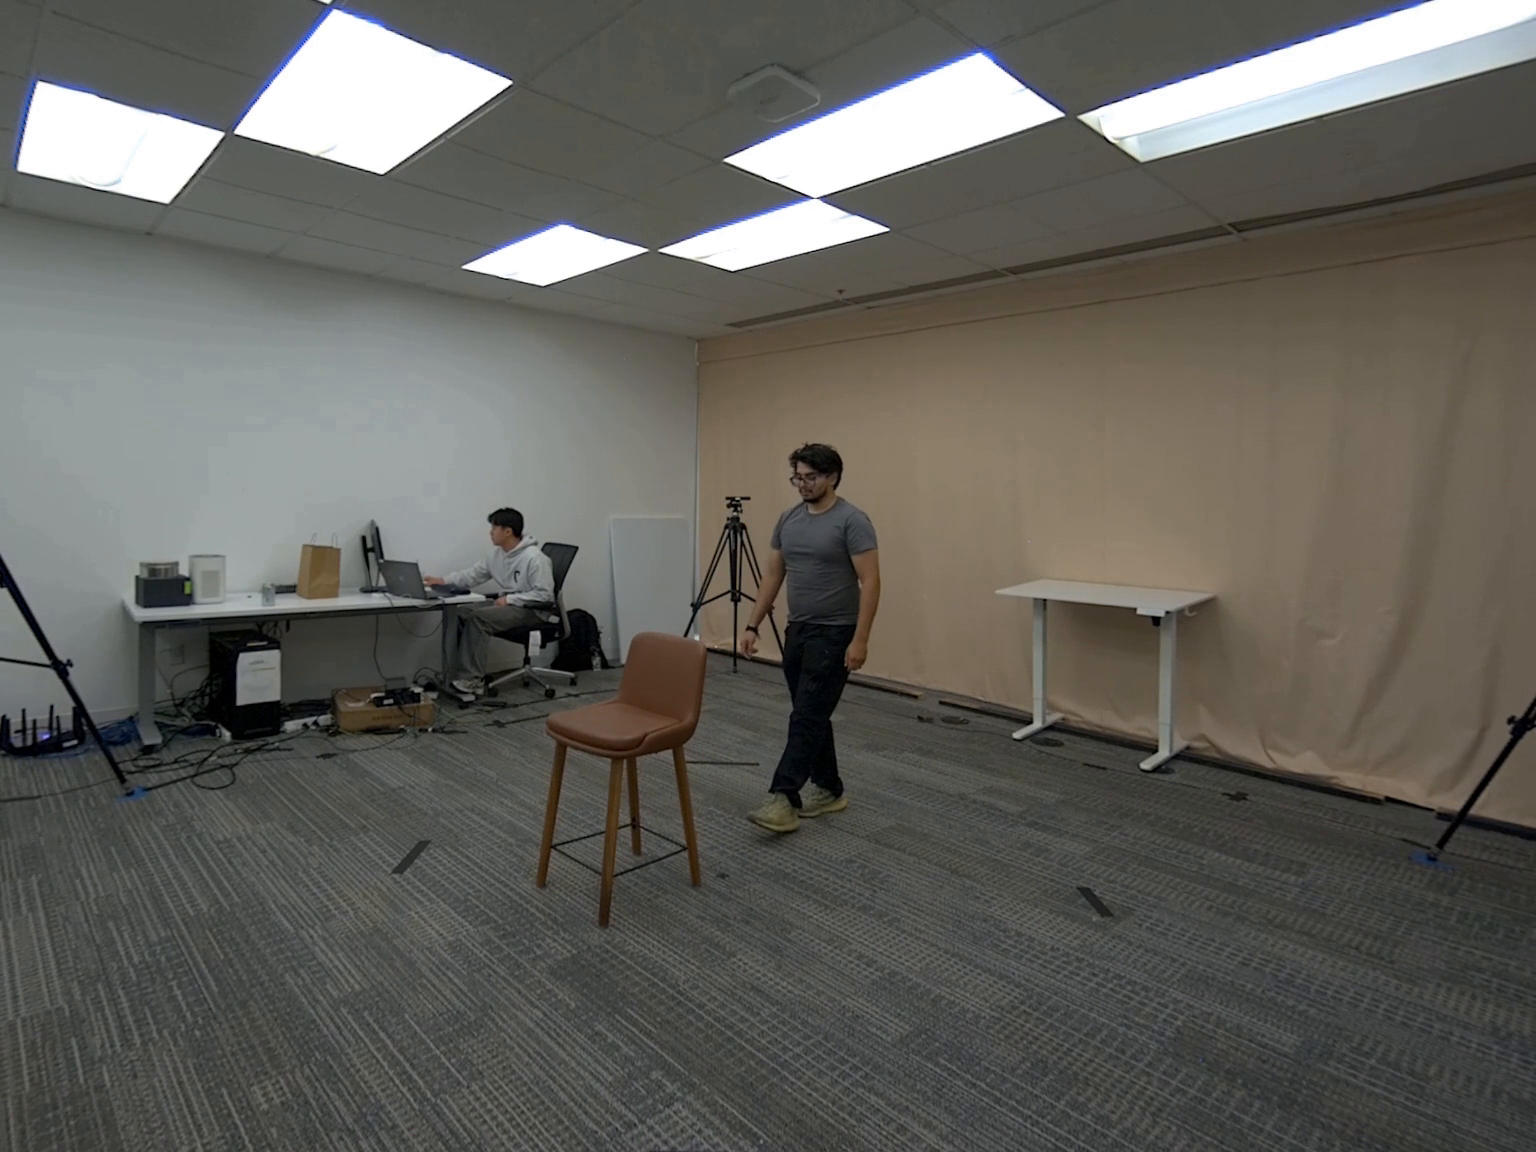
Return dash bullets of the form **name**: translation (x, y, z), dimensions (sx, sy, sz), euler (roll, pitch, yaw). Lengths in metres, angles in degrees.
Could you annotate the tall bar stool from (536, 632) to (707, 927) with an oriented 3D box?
- **tall bar stool**: translation (-0.516, 0.675, 2.983), dimensions (0.468, 0.889, 0.456), euler (4, 3, 45)
